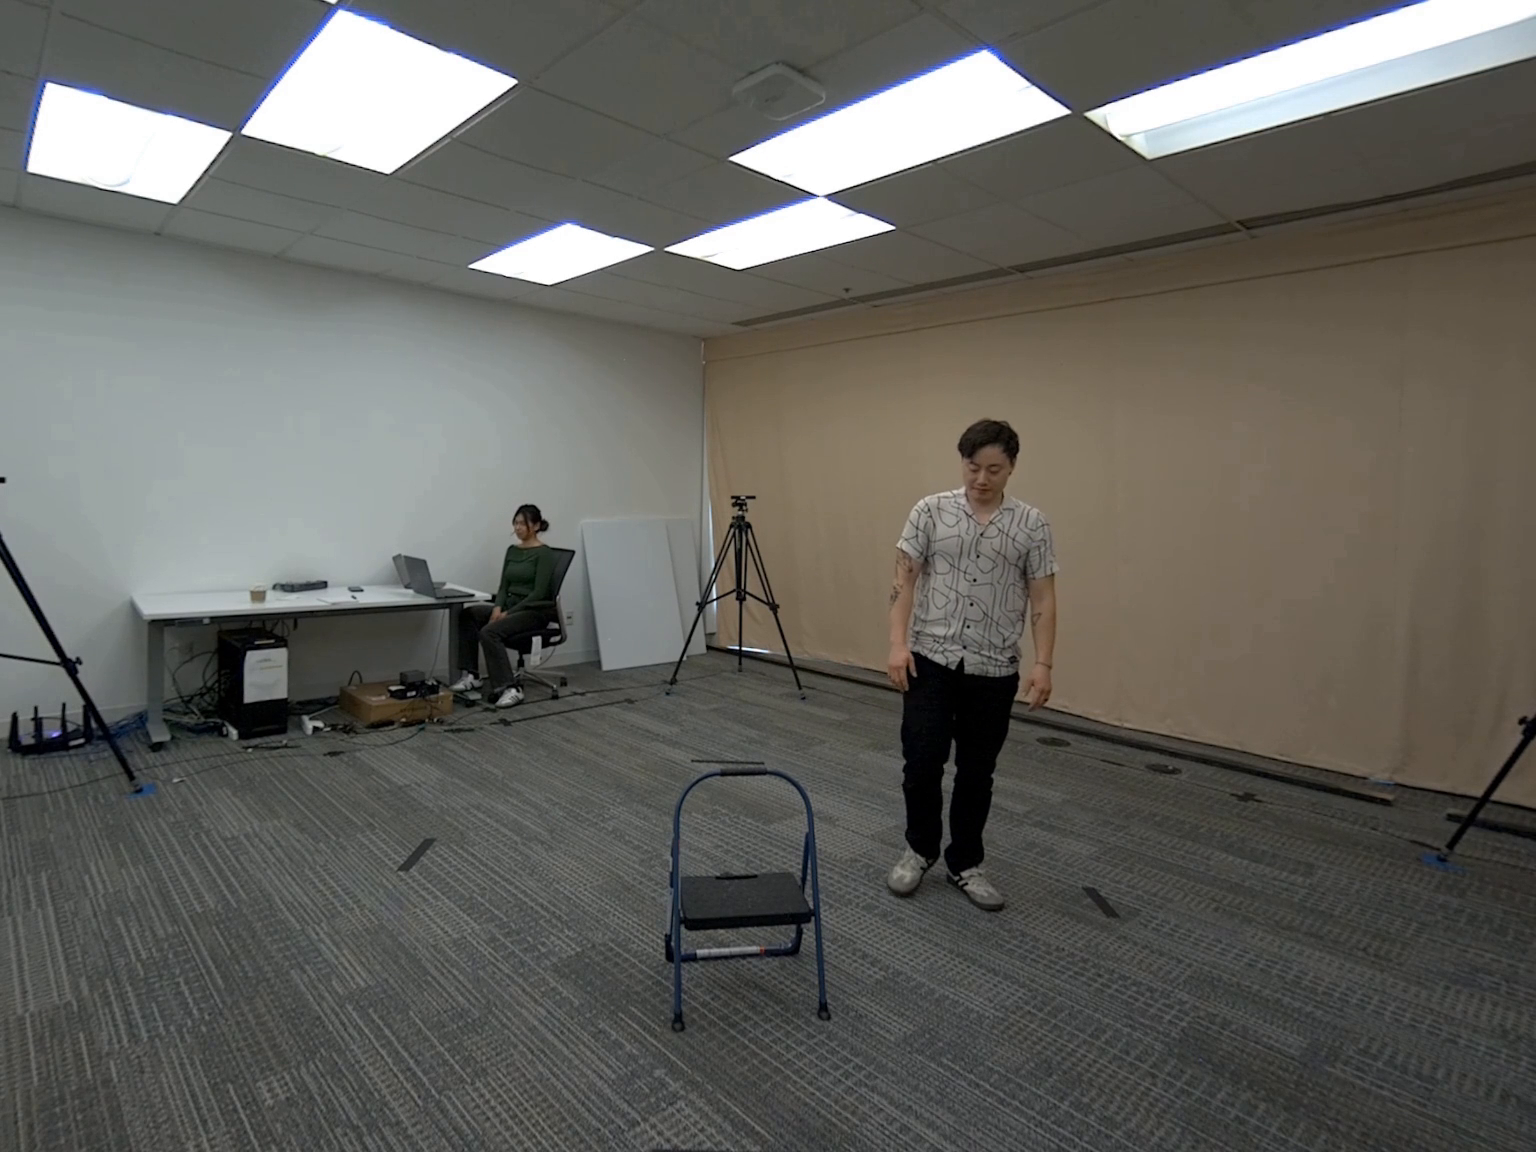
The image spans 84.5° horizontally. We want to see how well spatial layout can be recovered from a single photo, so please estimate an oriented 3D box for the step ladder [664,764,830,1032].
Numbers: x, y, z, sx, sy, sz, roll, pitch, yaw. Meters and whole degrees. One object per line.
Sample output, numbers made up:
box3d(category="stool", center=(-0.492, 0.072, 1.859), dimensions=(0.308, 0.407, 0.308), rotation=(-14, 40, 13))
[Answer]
box3d(category="step ladder", center=(-0.067, 0.872, 2.370), dimensions=(0.427, 0.604, 0.353), rotation=(1, 4, -11))
